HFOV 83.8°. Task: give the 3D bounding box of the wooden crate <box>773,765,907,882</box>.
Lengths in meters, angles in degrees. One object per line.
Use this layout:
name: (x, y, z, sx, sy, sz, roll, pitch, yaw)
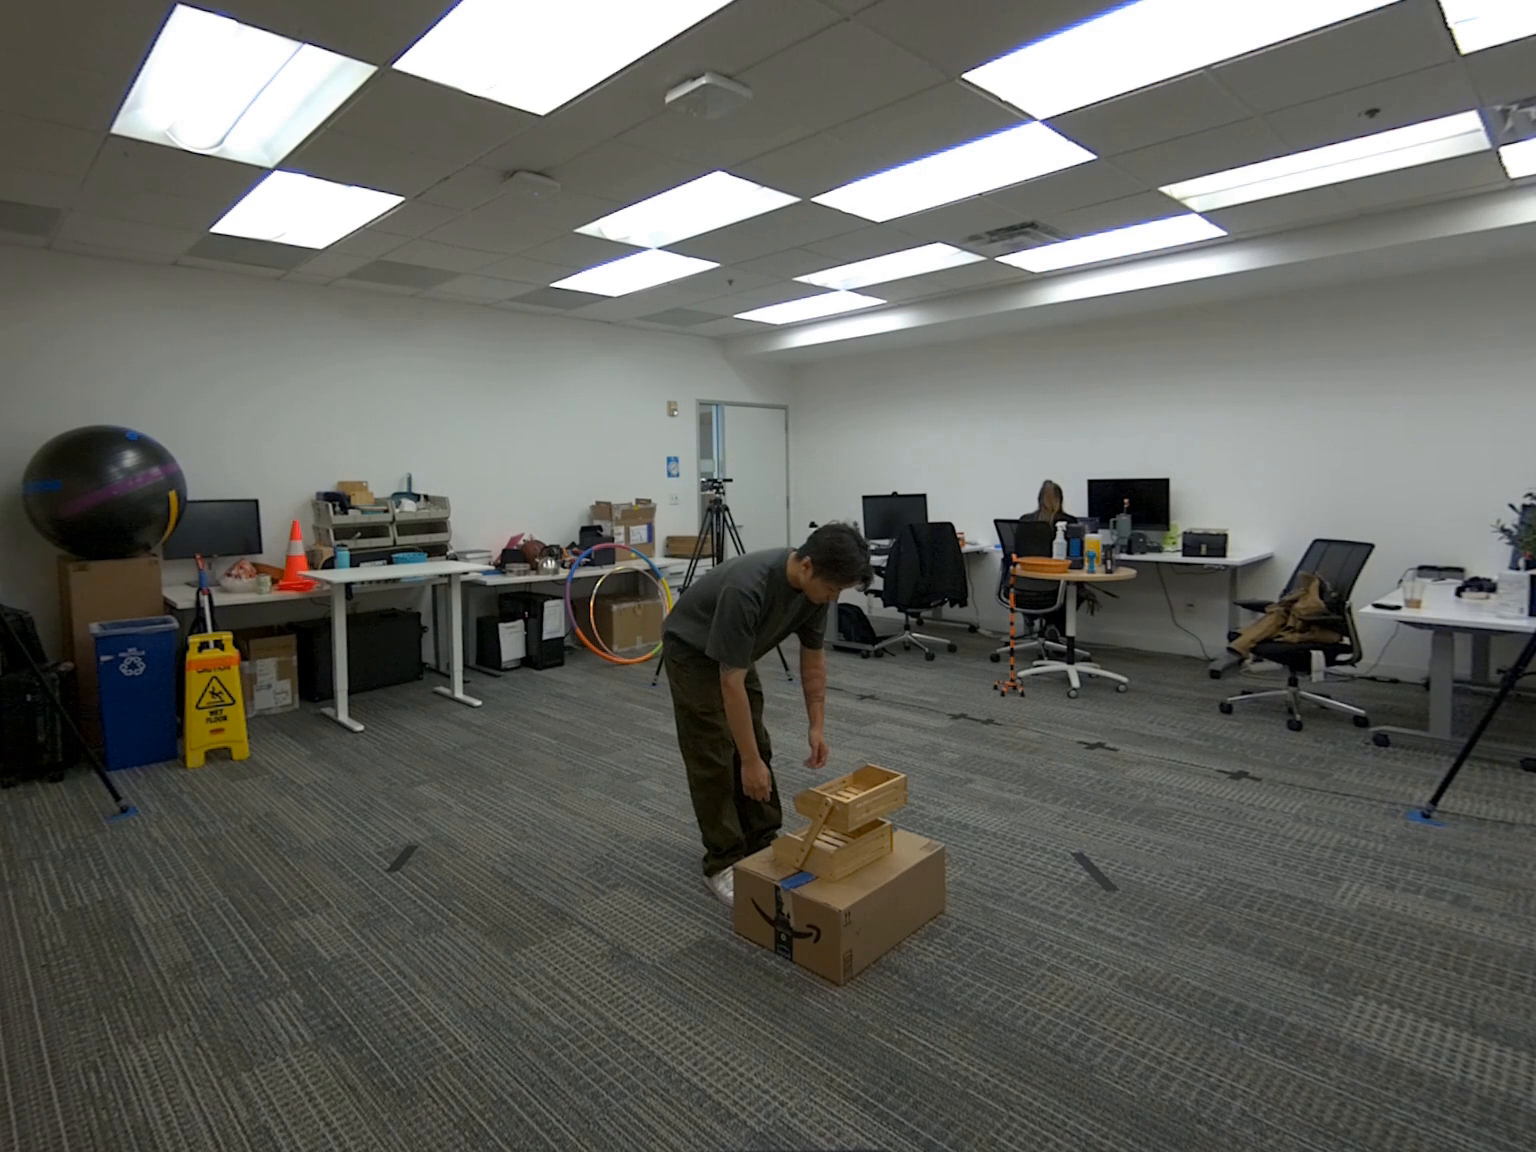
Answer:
wooden crate: (0.226, 0.746, 2.663, 0.311, 0.272, 0.316, 6, 9, 44)
